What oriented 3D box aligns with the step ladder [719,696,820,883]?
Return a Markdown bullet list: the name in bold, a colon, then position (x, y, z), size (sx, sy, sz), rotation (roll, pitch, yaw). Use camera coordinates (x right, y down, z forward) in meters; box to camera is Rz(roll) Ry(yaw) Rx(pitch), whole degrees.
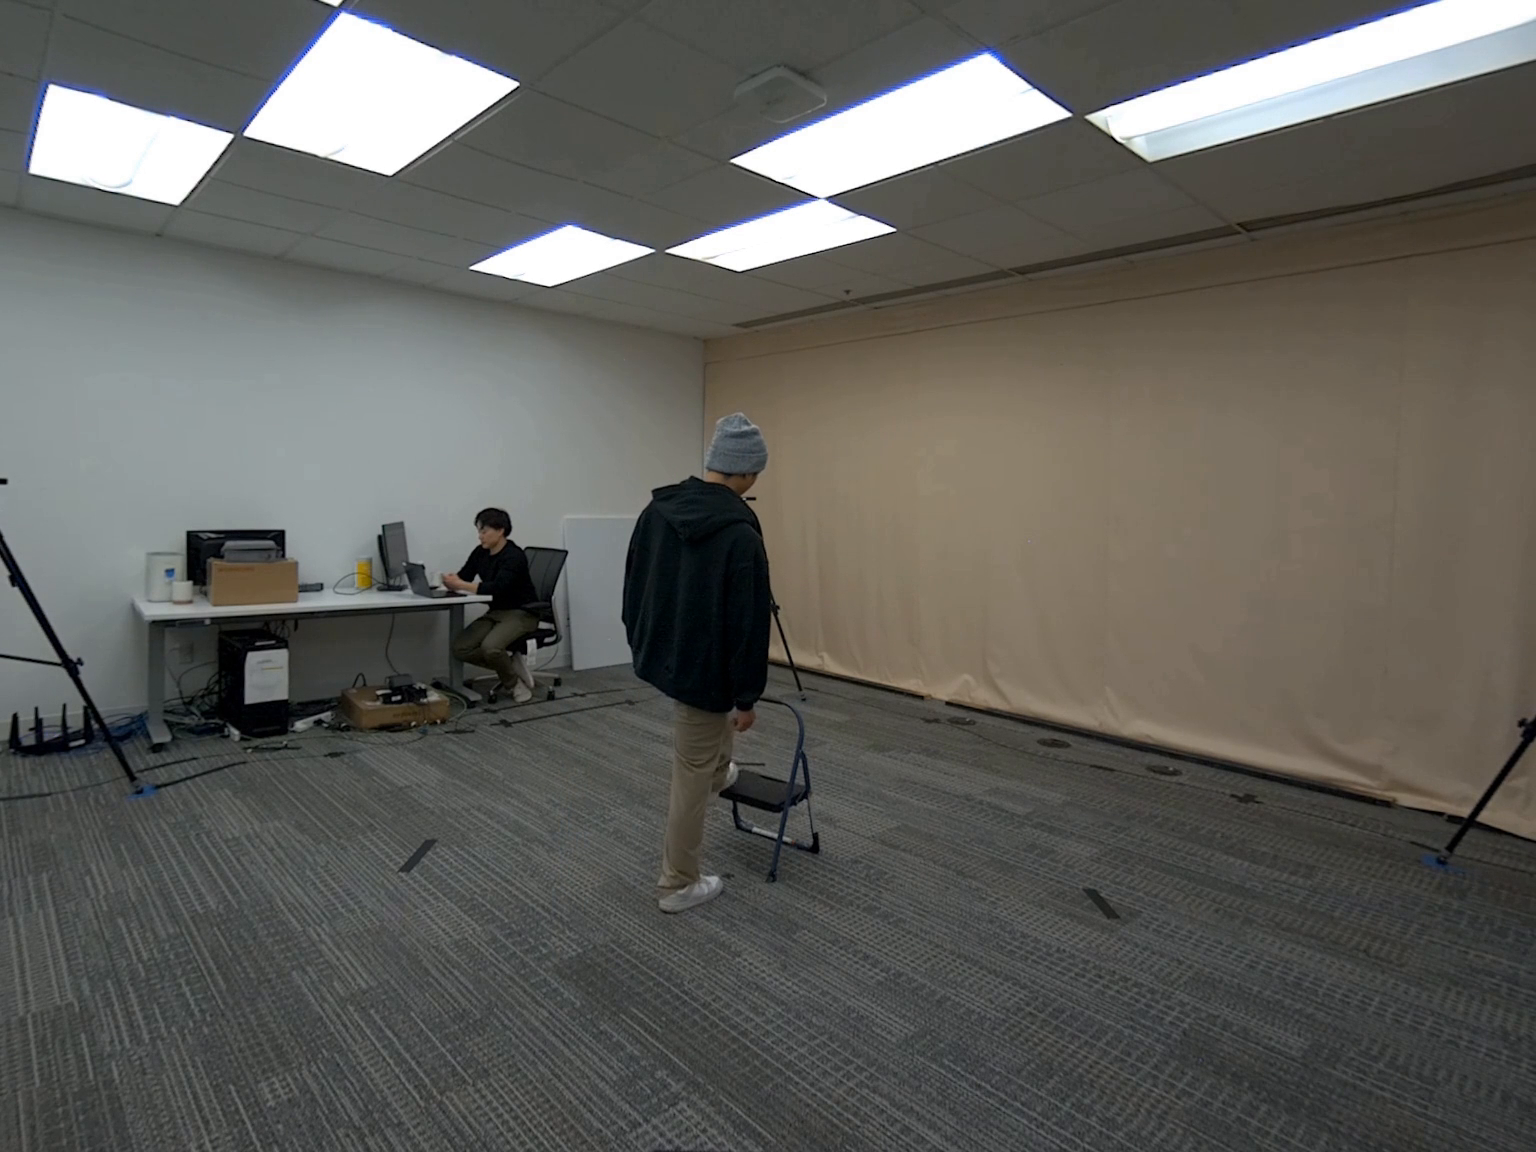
- **step ladder**: position (-0.055, 0.787, 3.305), size (0.441, 0.604, 0.342), rotation (4, 4, 36)
